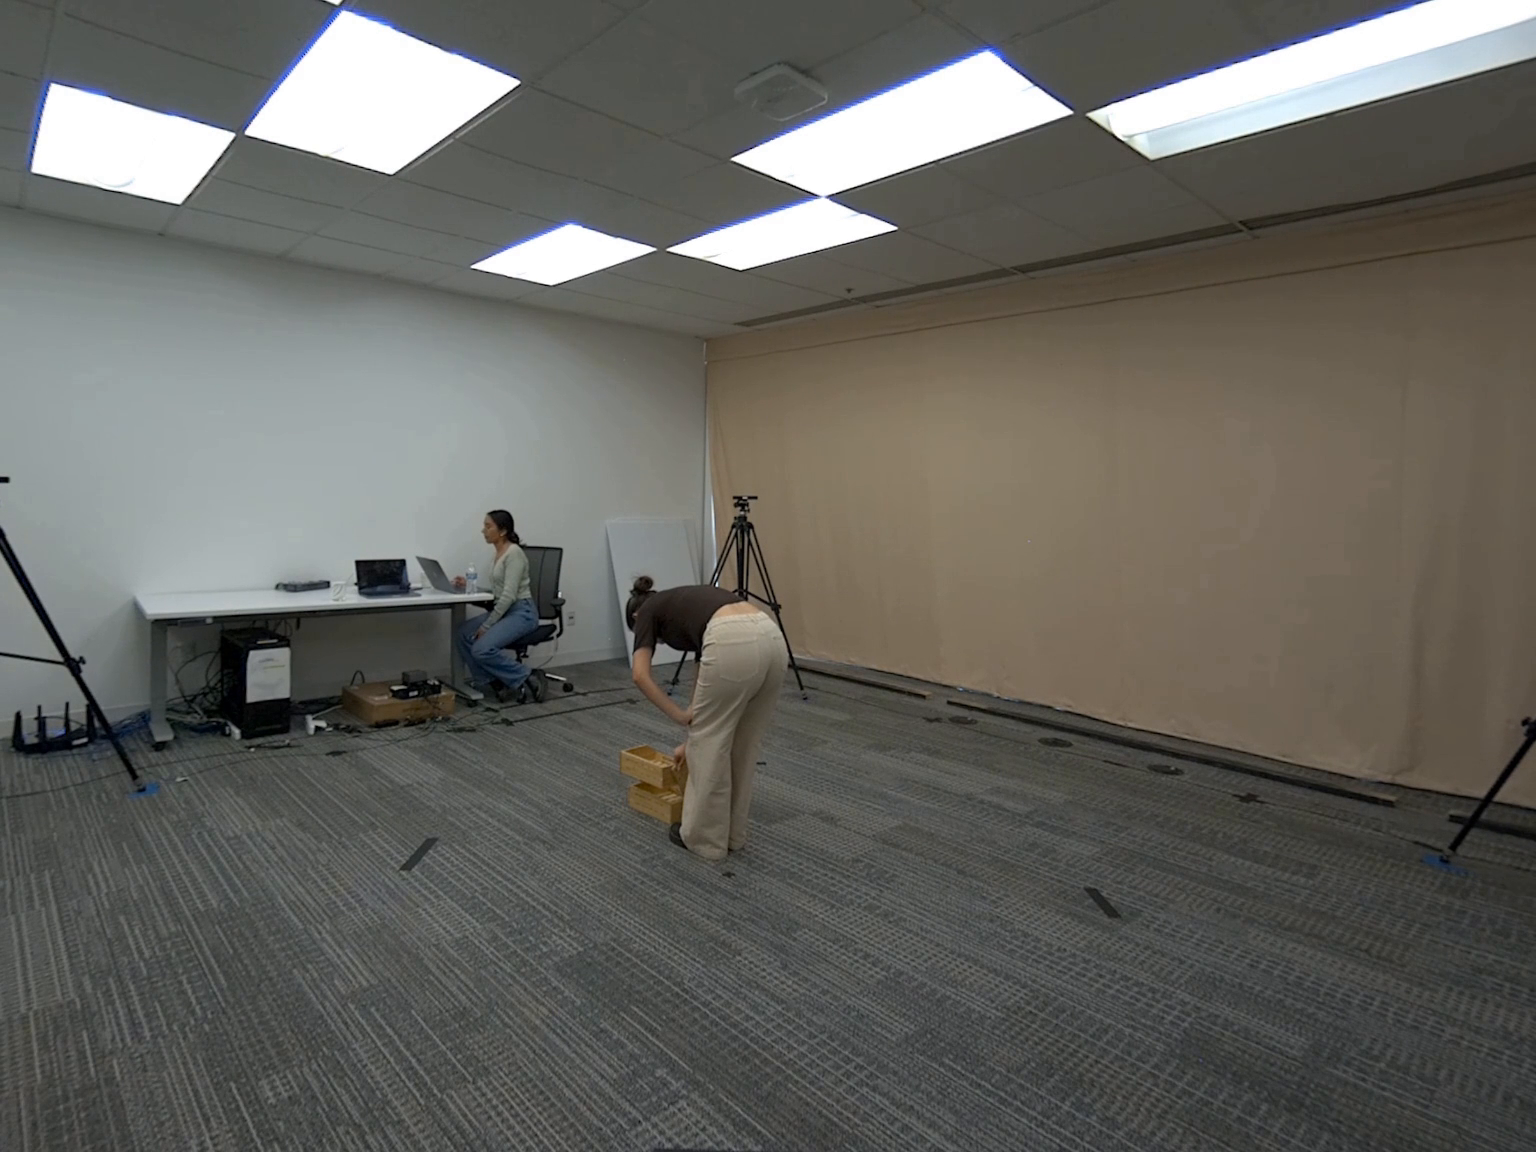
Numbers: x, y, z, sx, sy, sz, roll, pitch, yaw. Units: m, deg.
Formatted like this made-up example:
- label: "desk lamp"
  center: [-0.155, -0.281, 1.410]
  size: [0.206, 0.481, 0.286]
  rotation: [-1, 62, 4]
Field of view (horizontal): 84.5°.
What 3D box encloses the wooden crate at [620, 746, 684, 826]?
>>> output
- label: "wooden crate"
  center: [-0.454, 0.905, 3.734]
  size: [0.295, 0.272, 0.333]
  rotation: [-4, 7, -44]
